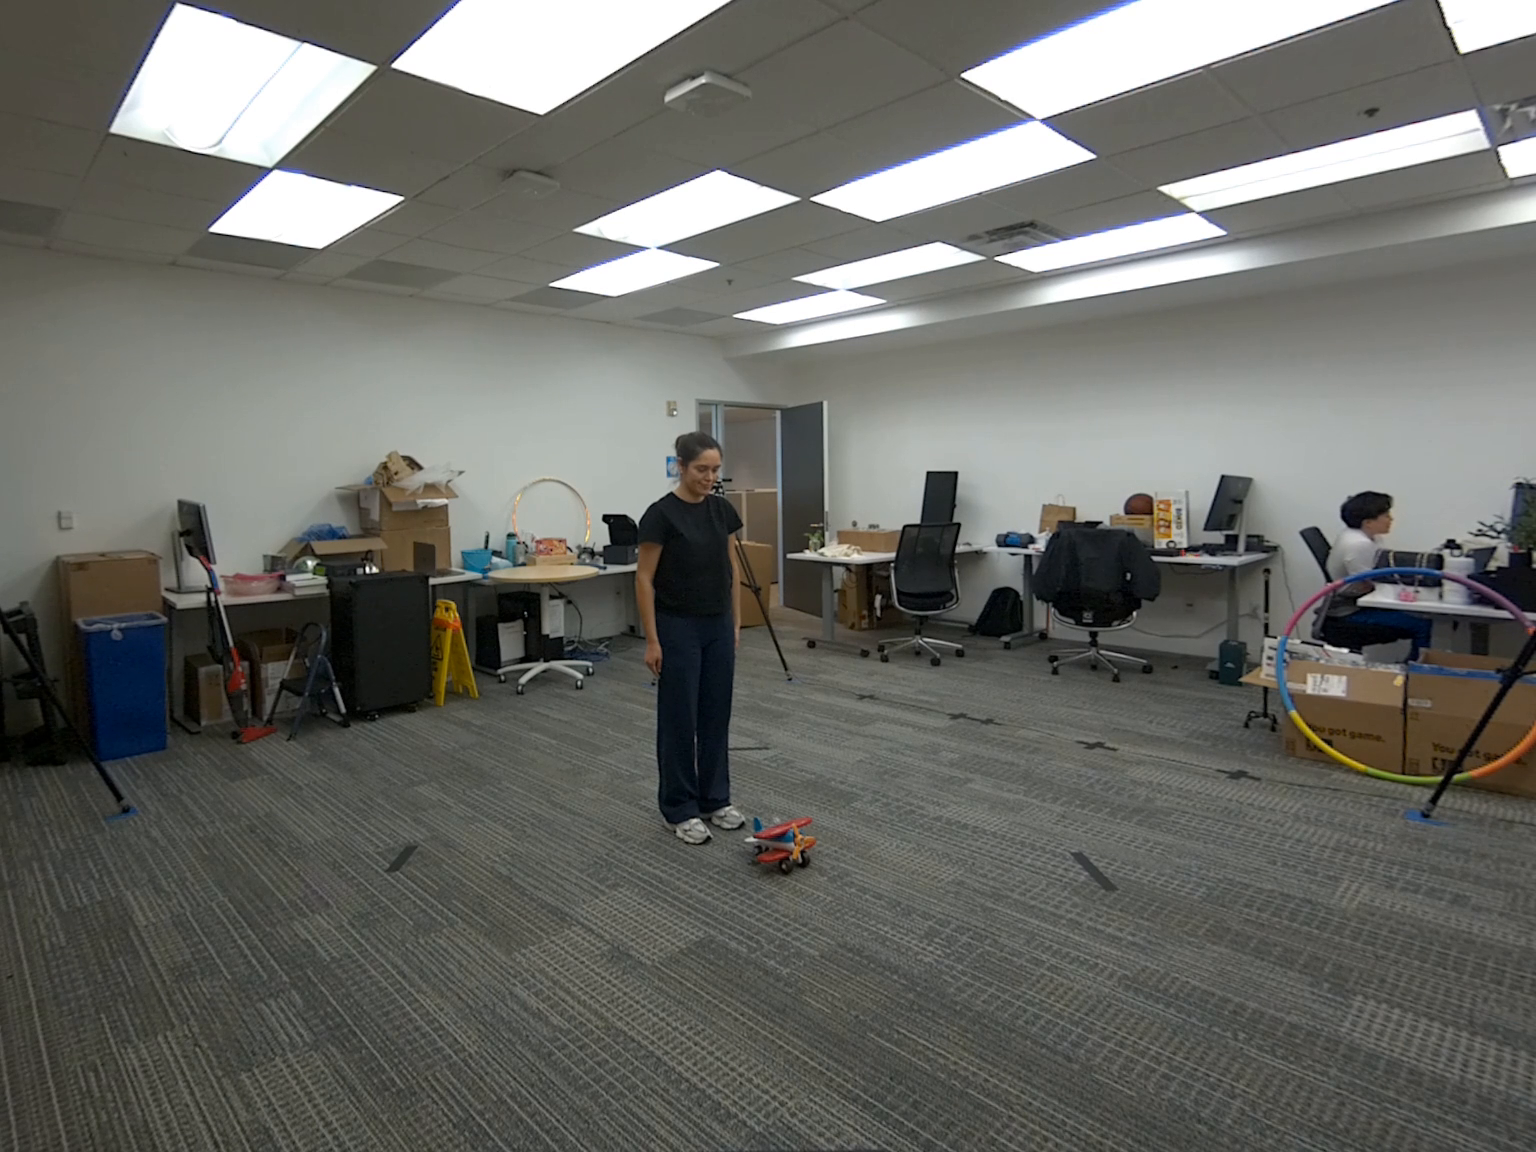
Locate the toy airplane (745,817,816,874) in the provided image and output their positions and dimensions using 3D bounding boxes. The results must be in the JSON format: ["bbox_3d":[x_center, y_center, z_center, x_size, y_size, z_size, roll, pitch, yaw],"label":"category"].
[{"bbox_3d":[0.025,0.966,3.110,0.265,0.156,0.247,3,6,21],"label":"toy airplane"}]
